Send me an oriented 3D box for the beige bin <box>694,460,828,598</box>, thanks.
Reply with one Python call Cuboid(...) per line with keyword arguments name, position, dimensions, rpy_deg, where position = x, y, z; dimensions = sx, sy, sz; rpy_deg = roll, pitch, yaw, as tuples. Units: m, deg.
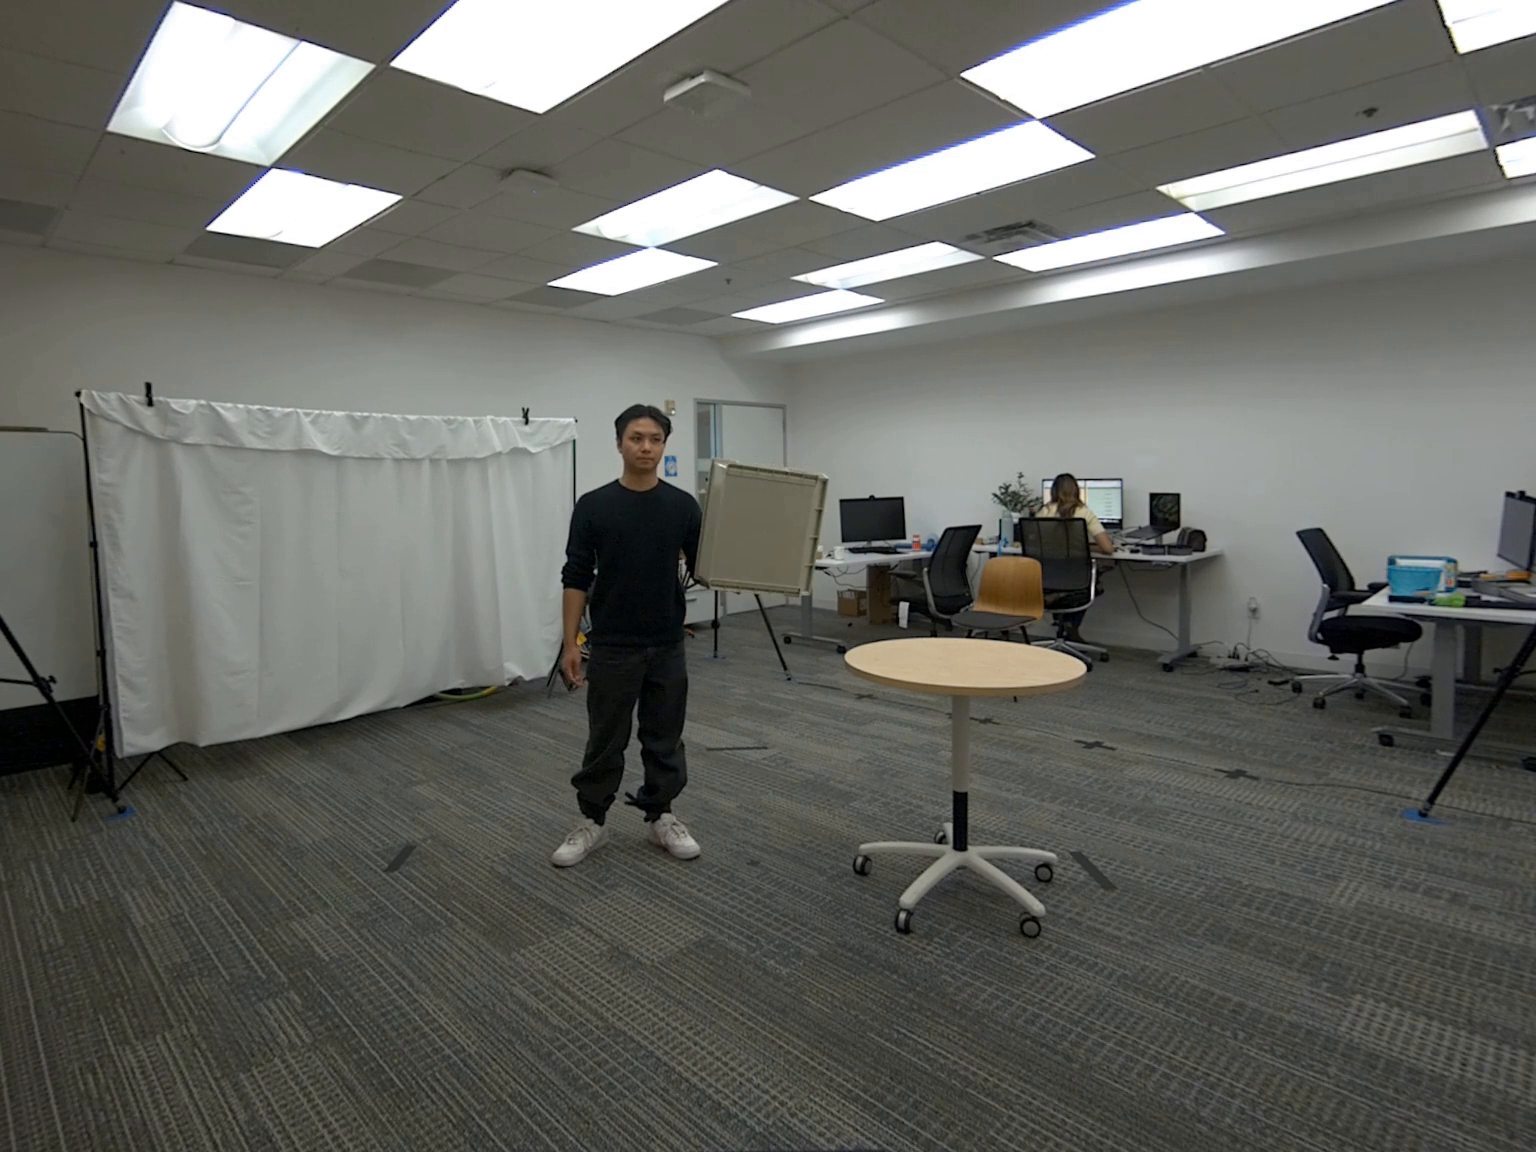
Cuboid(name="beige bin", position=(-0.016, -0.158, 2.875), dimensions=(0.371, 0.420, 0.193), rpy_deg=(7, 7, -15))
